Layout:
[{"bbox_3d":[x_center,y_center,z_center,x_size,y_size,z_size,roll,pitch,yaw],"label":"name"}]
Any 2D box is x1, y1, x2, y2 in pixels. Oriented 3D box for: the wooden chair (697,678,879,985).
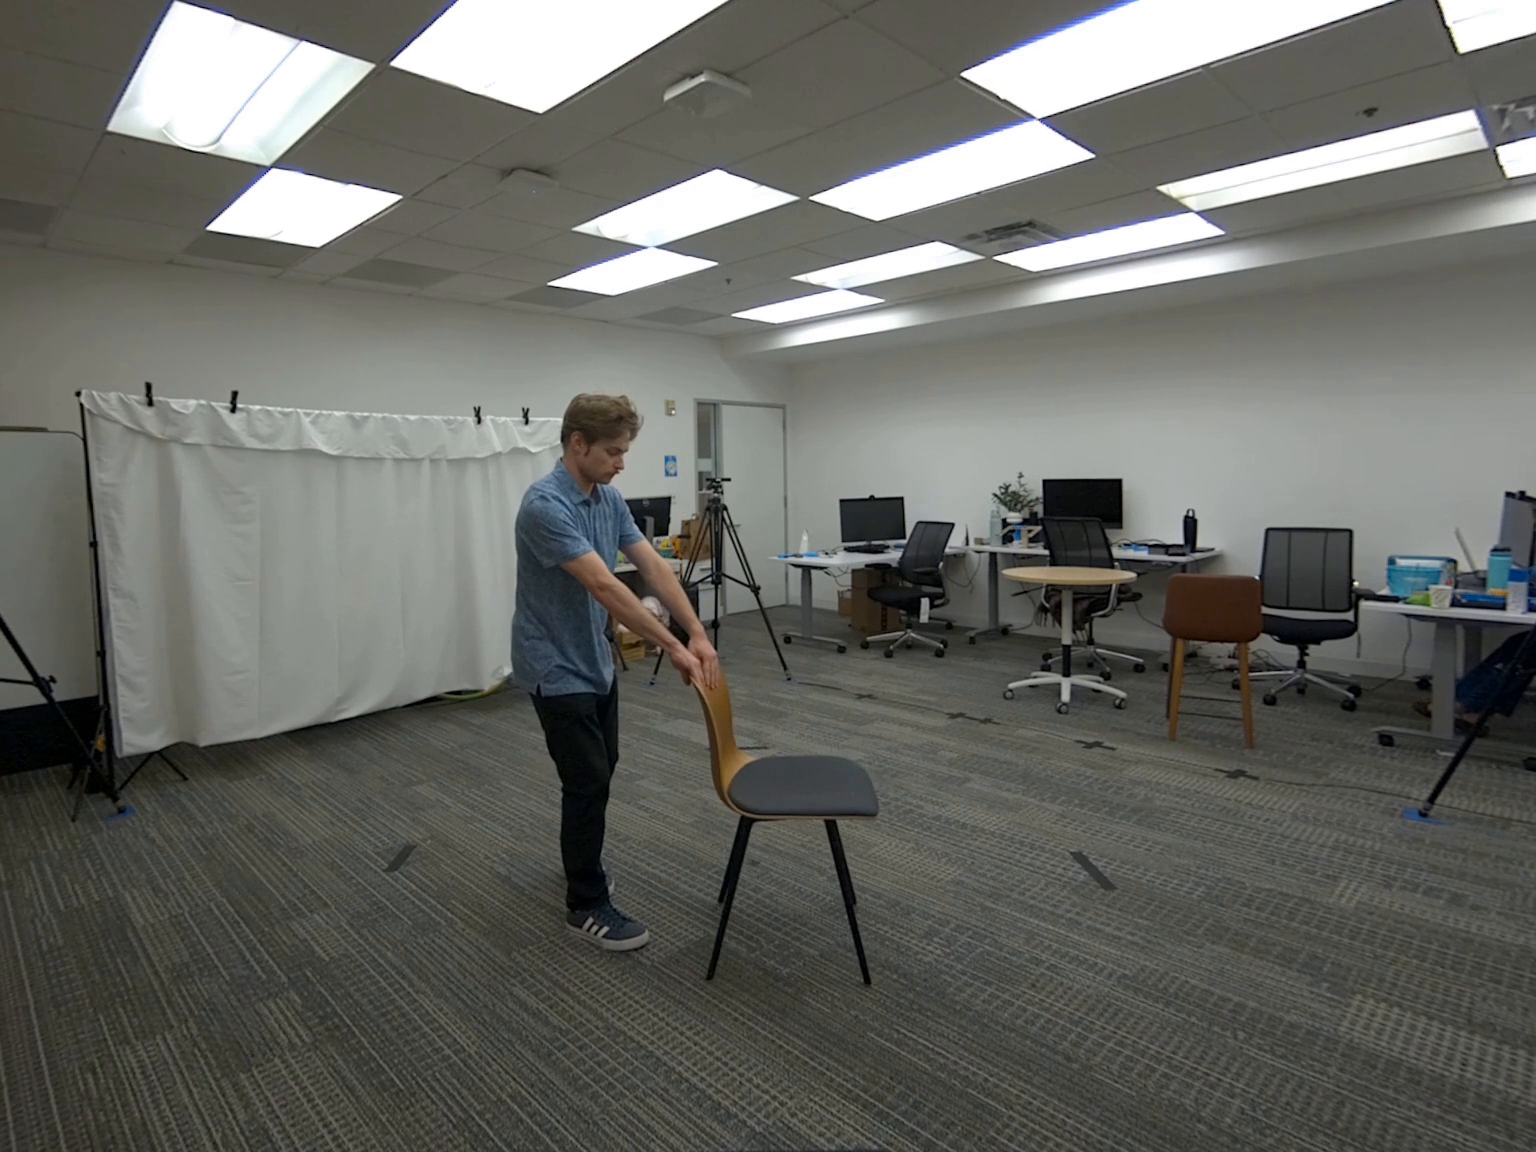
[{"bbox_3d":[0.061,0.671,2.561,0.525,0.874,0.478,-5,4,3],"label":"wooden chair"}]
